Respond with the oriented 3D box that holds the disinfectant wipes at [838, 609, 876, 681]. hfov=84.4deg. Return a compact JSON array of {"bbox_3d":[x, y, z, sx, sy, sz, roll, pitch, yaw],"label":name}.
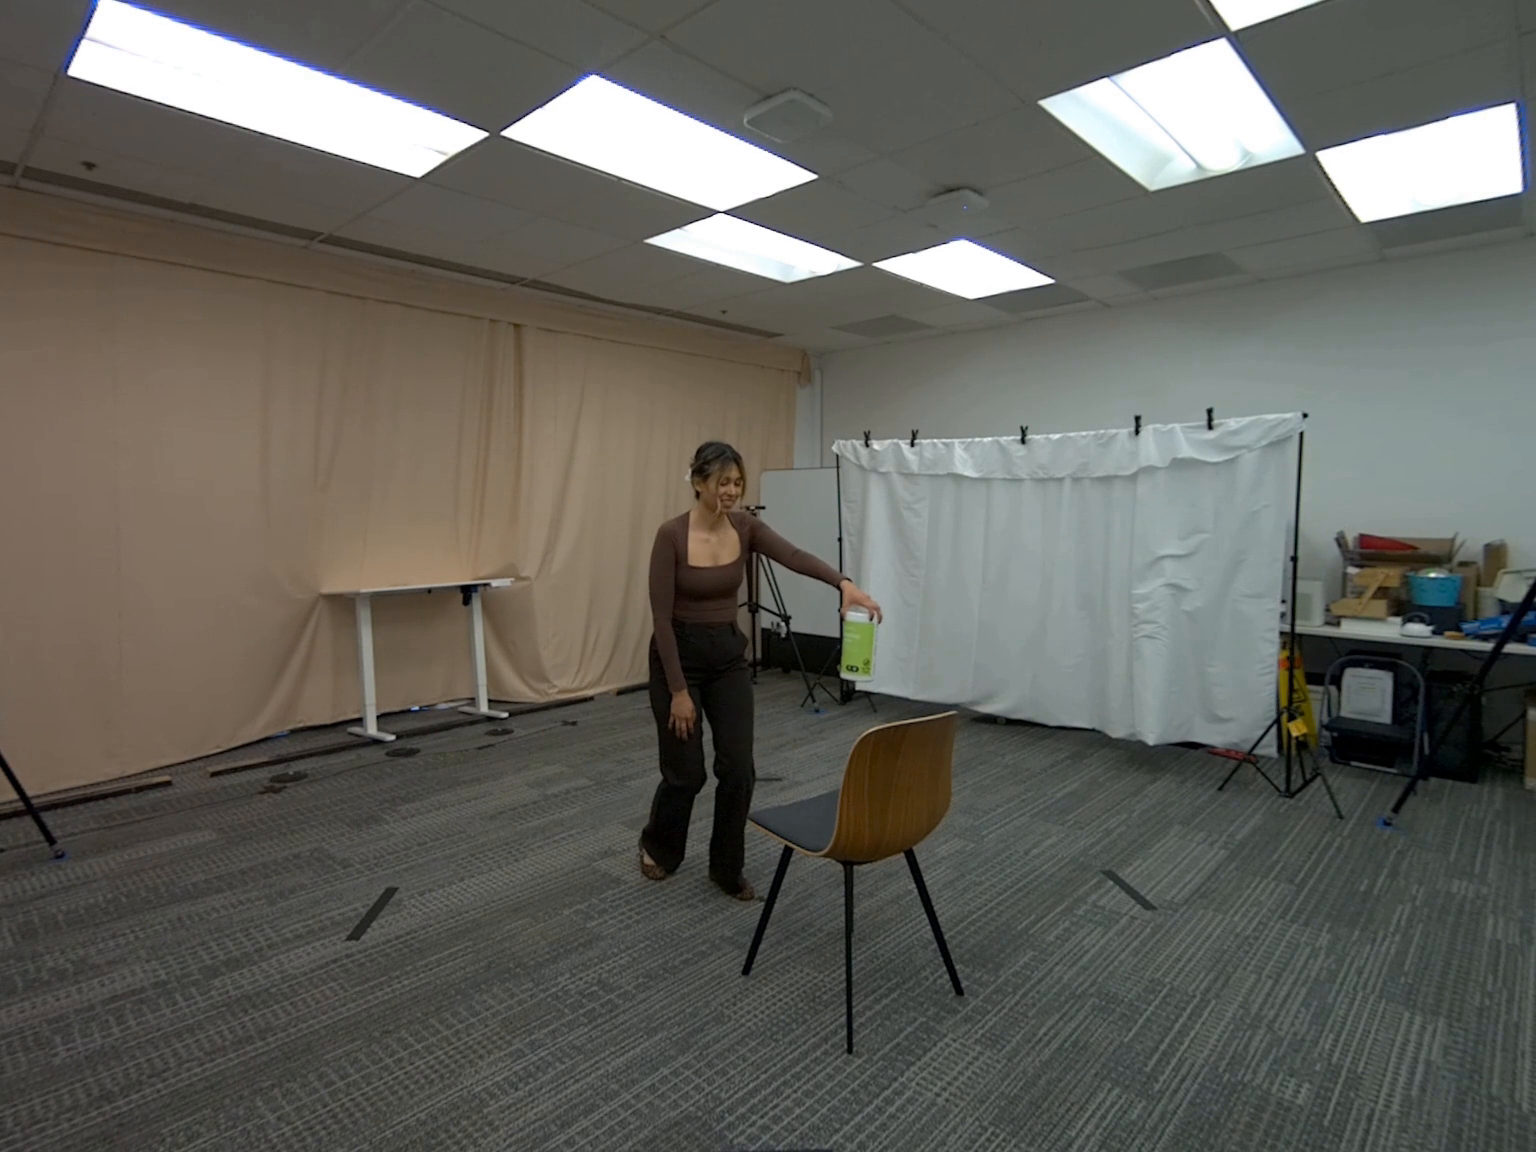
[{"bbox_3d":[0.296,0.223,2.680,0.117,0.217,0.118,4,2,-2],"label":"disinfectant wipes"}]
